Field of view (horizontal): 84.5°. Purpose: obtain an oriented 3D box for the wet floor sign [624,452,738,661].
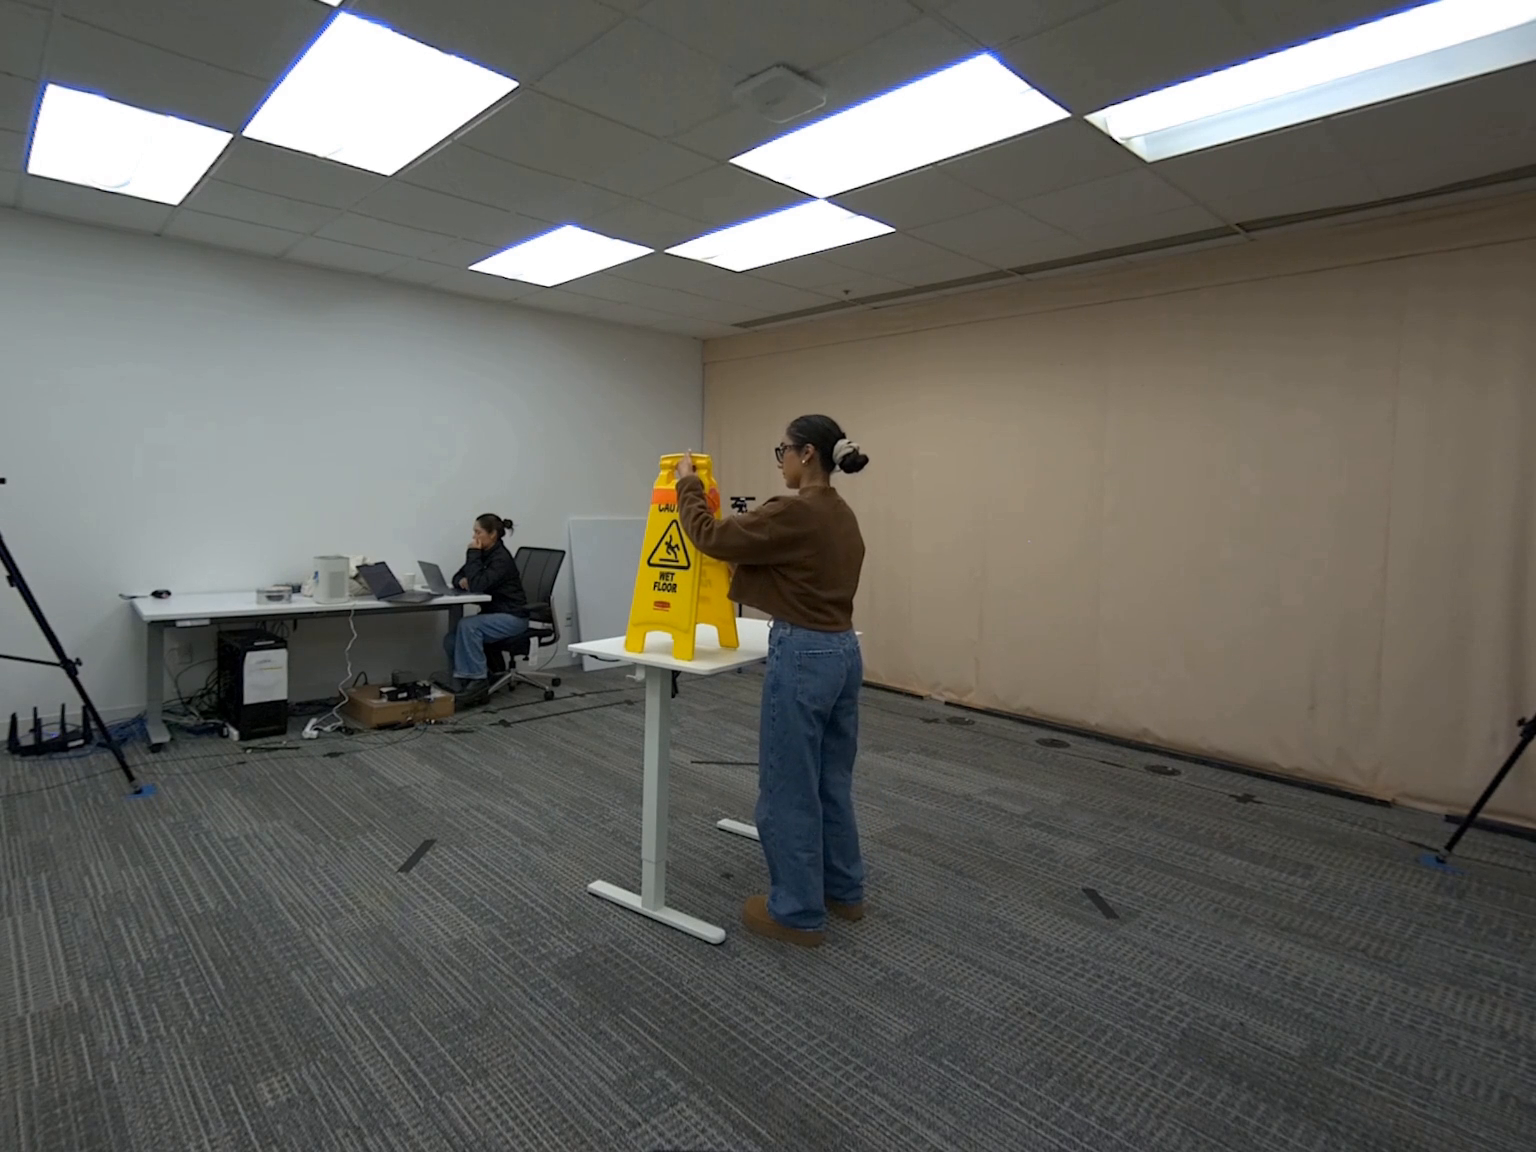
[{"bbox_3d":[-0.286,-0.074,2.776,0.288,0.644,0.284,2,4,33],"label":"wet floor sign"}]
